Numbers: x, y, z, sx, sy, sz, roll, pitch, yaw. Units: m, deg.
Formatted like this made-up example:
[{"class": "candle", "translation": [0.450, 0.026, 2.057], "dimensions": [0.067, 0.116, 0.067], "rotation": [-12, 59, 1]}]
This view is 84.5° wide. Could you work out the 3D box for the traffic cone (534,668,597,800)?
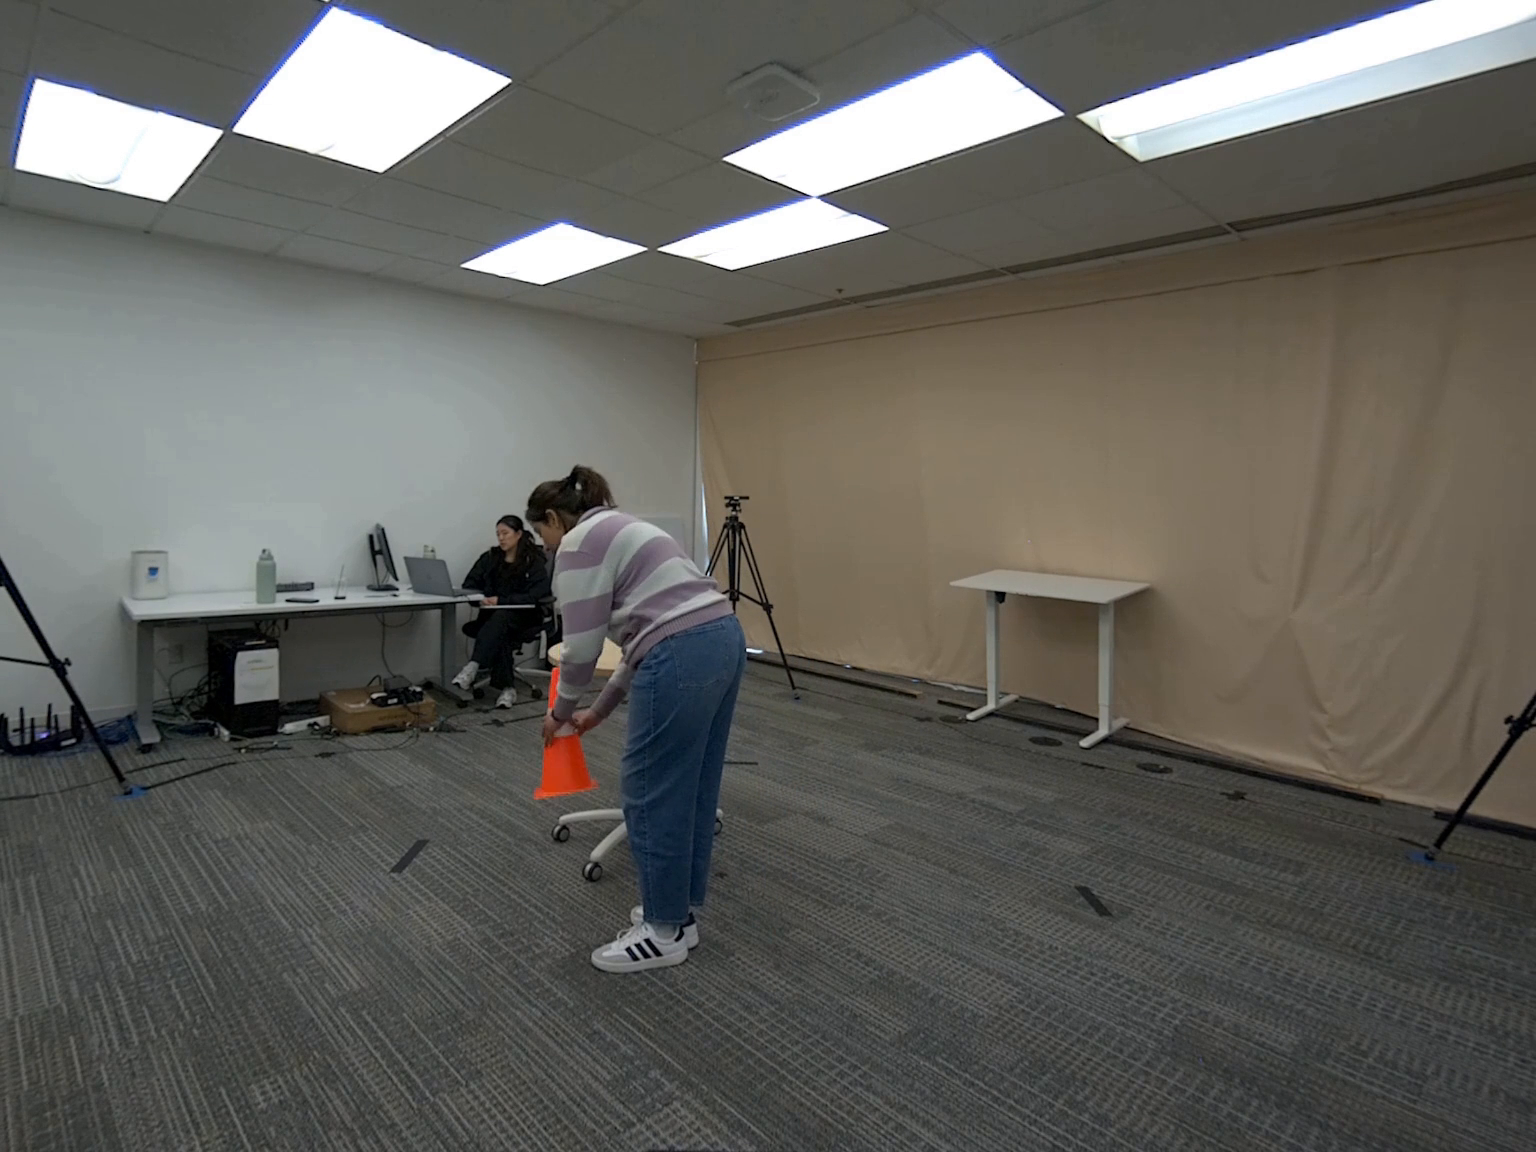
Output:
[{"class": "traffic cone", "translation": [-0.662, 0.494, 2.692], "dimensions": [0.201, 0.384, 0.206], "rotation": [-2, -3, -26]}]
